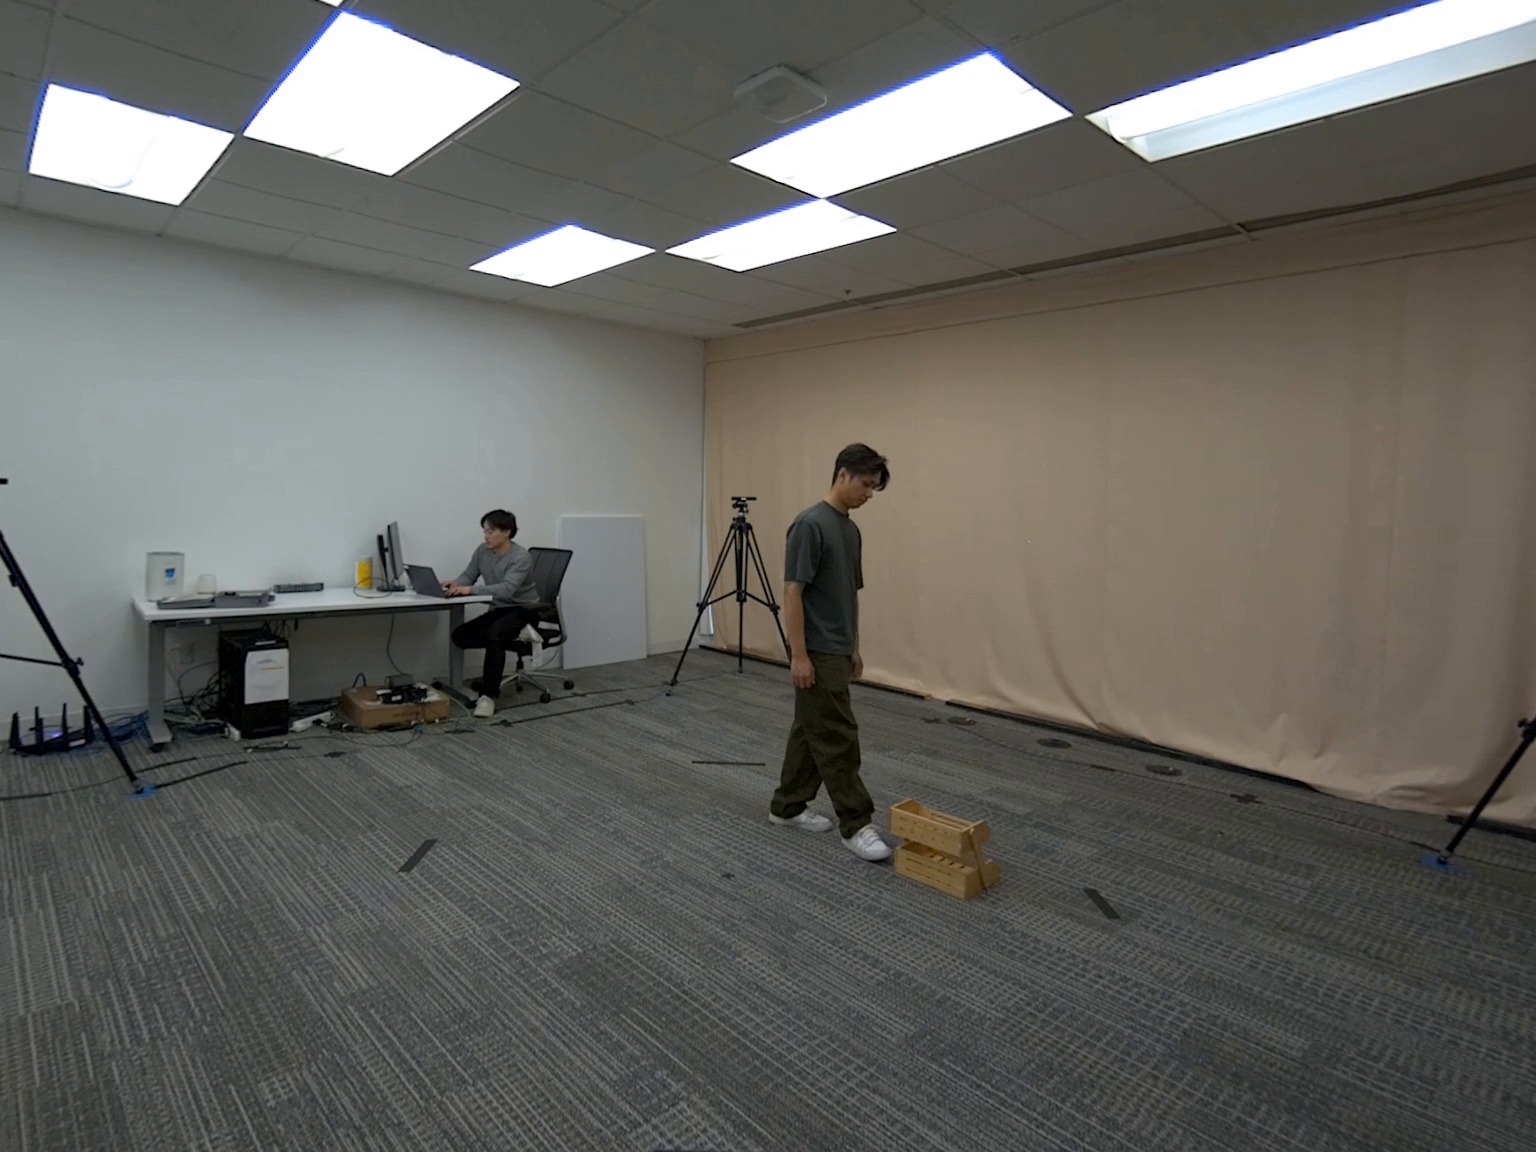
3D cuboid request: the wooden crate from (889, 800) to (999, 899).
[{"bbox_3d":[0.654,0.992,3.129,0.333,0.272,0.295,6,6,43],"label":"wooden crate"}]
